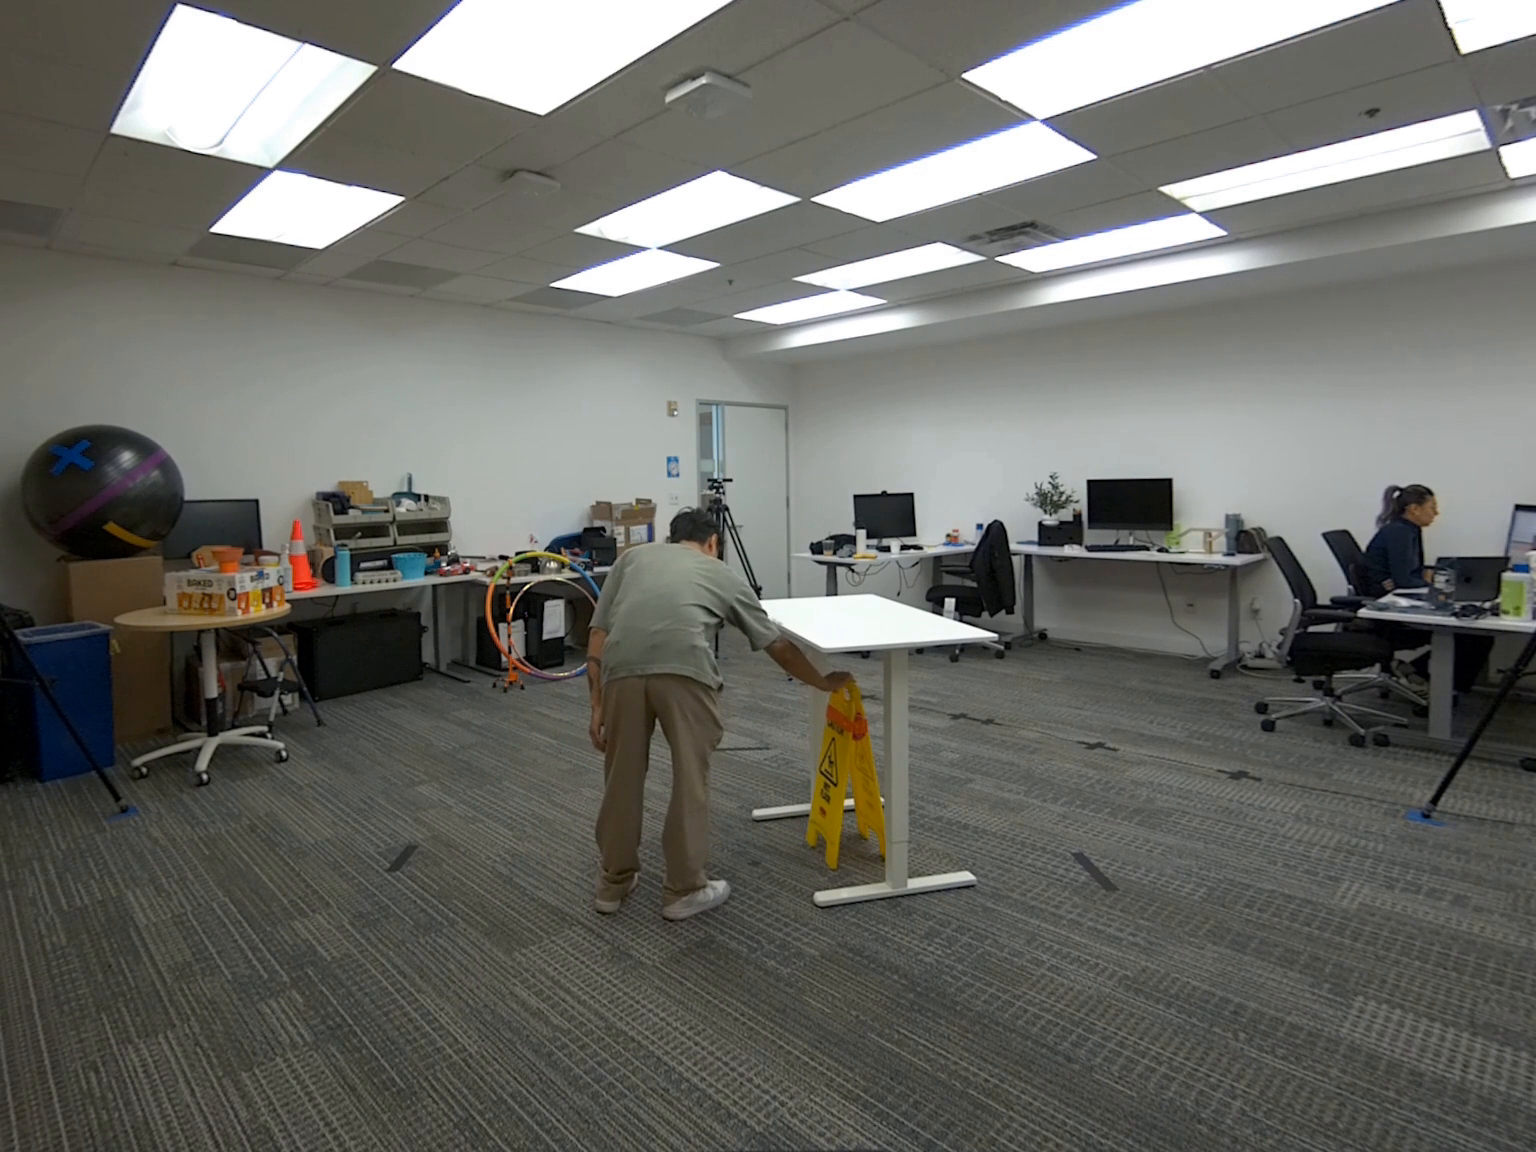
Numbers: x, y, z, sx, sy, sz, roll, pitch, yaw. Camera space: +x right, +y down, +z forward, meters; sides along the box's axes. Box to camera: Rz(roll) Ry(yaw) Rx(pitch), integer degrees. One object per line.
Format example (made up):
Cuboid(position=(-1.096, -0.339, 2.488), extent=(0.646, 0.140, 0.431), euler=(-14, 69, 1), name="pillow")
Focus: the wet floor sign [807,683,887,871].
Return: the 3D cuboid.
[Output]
Cuboid(position=(0.311, 0.716, 3.170), extent=(0.286, 0.642, 0.288), euler=(-1, 6, -16), name="wet floor sign")
